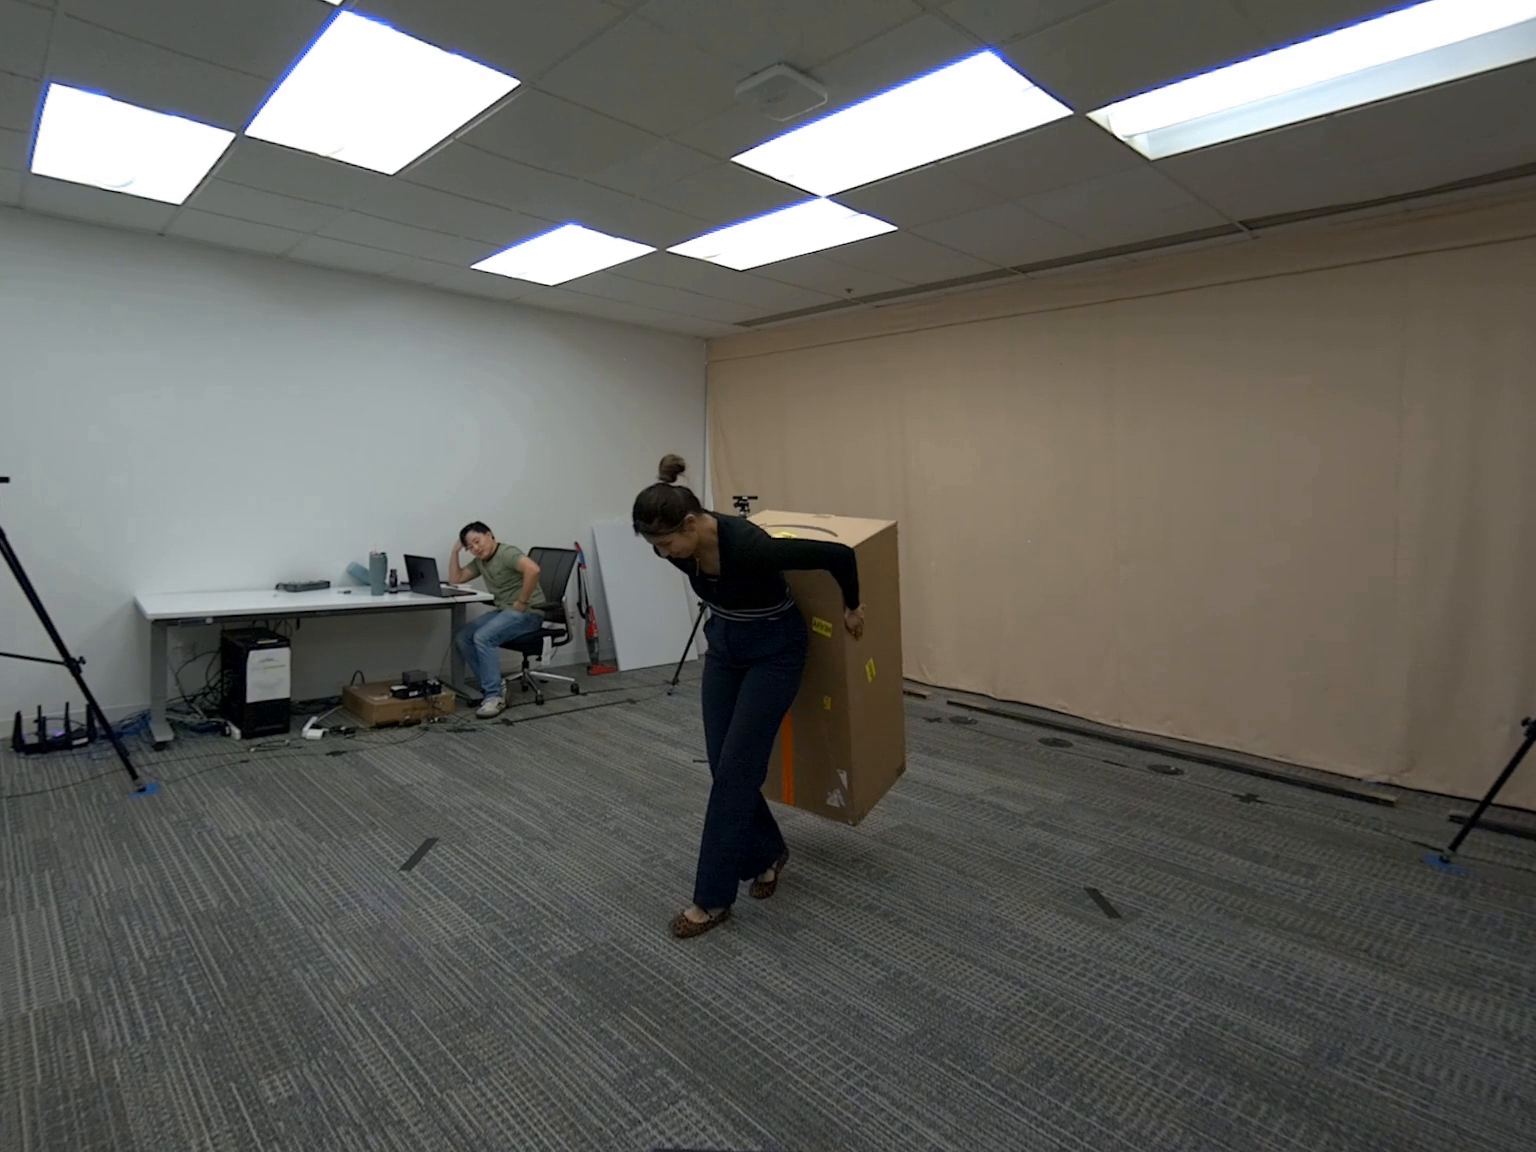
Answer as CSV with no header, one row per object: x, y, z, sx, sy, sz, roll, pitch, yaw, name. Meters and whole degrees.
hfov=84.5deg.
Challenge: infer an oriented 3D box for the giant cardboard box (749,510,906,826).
0.154,0.315,3.183,0.592,1.013,0.421,7,19,34,giant cardboard box
